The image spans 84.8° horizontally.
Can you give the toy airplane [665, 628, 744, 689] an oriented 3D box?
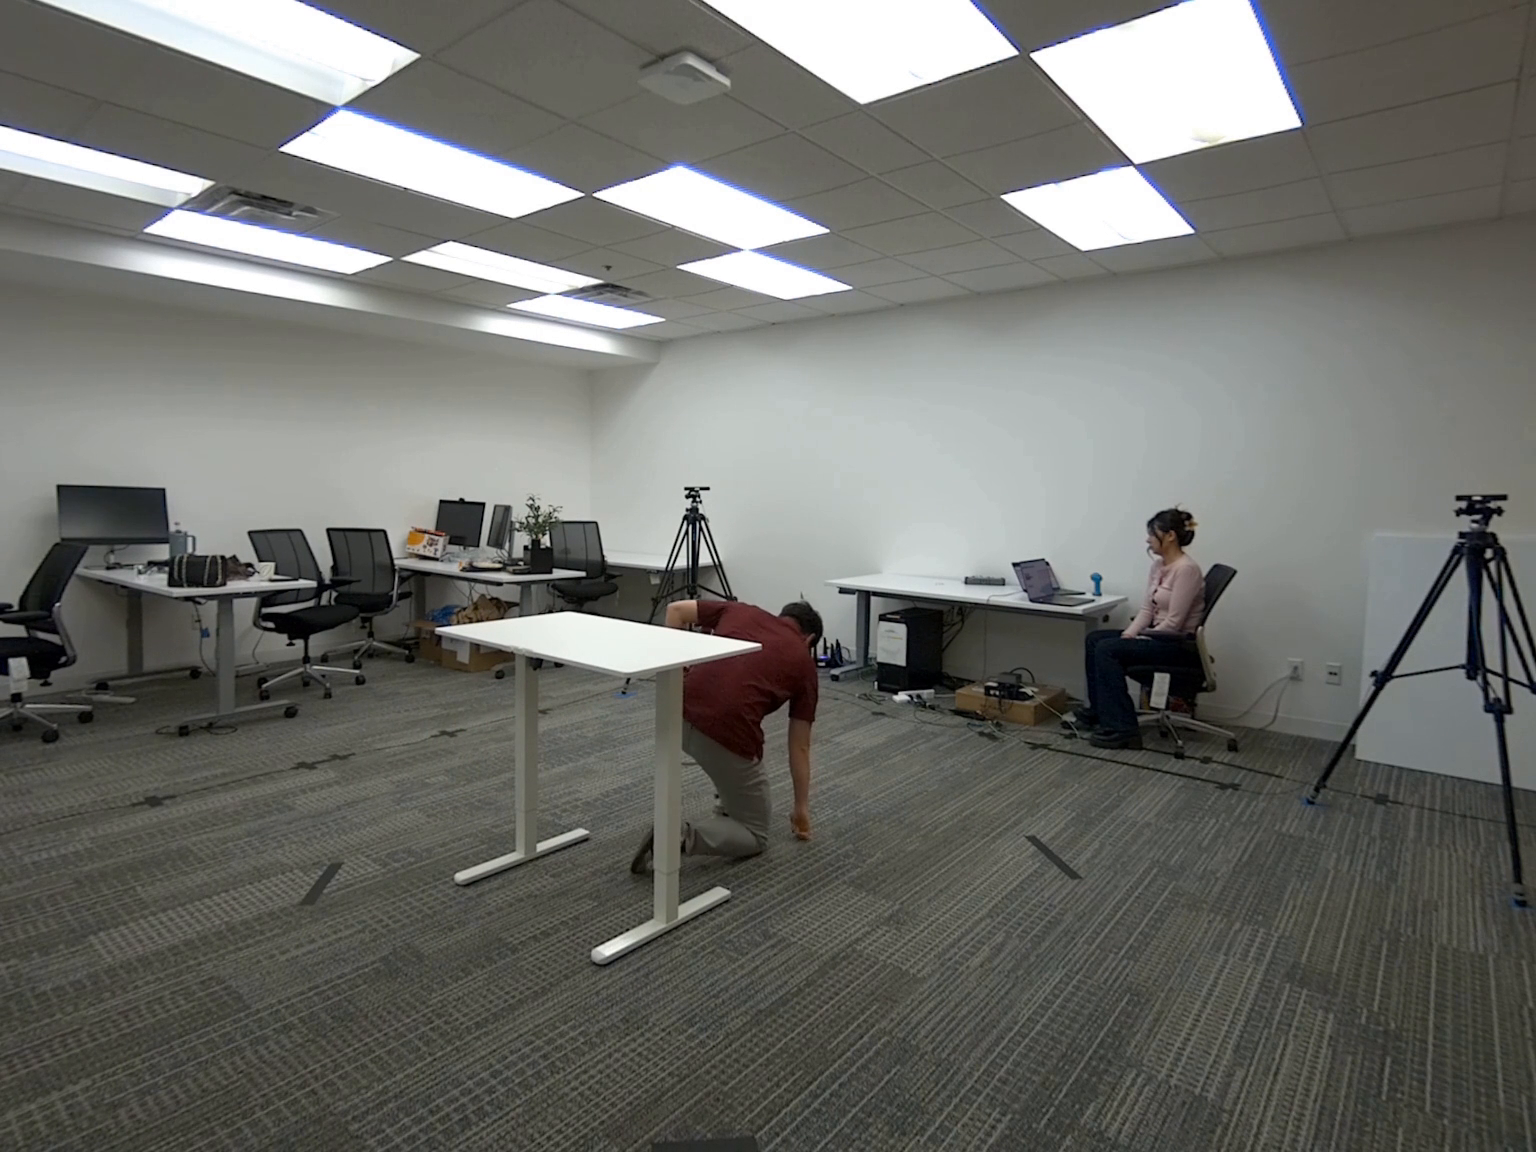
[{"bbox_3d":[-0.264,0.323,3.523,0.251,0.248,0.163,-4,20,-45],"label":"toy airplane"}]
